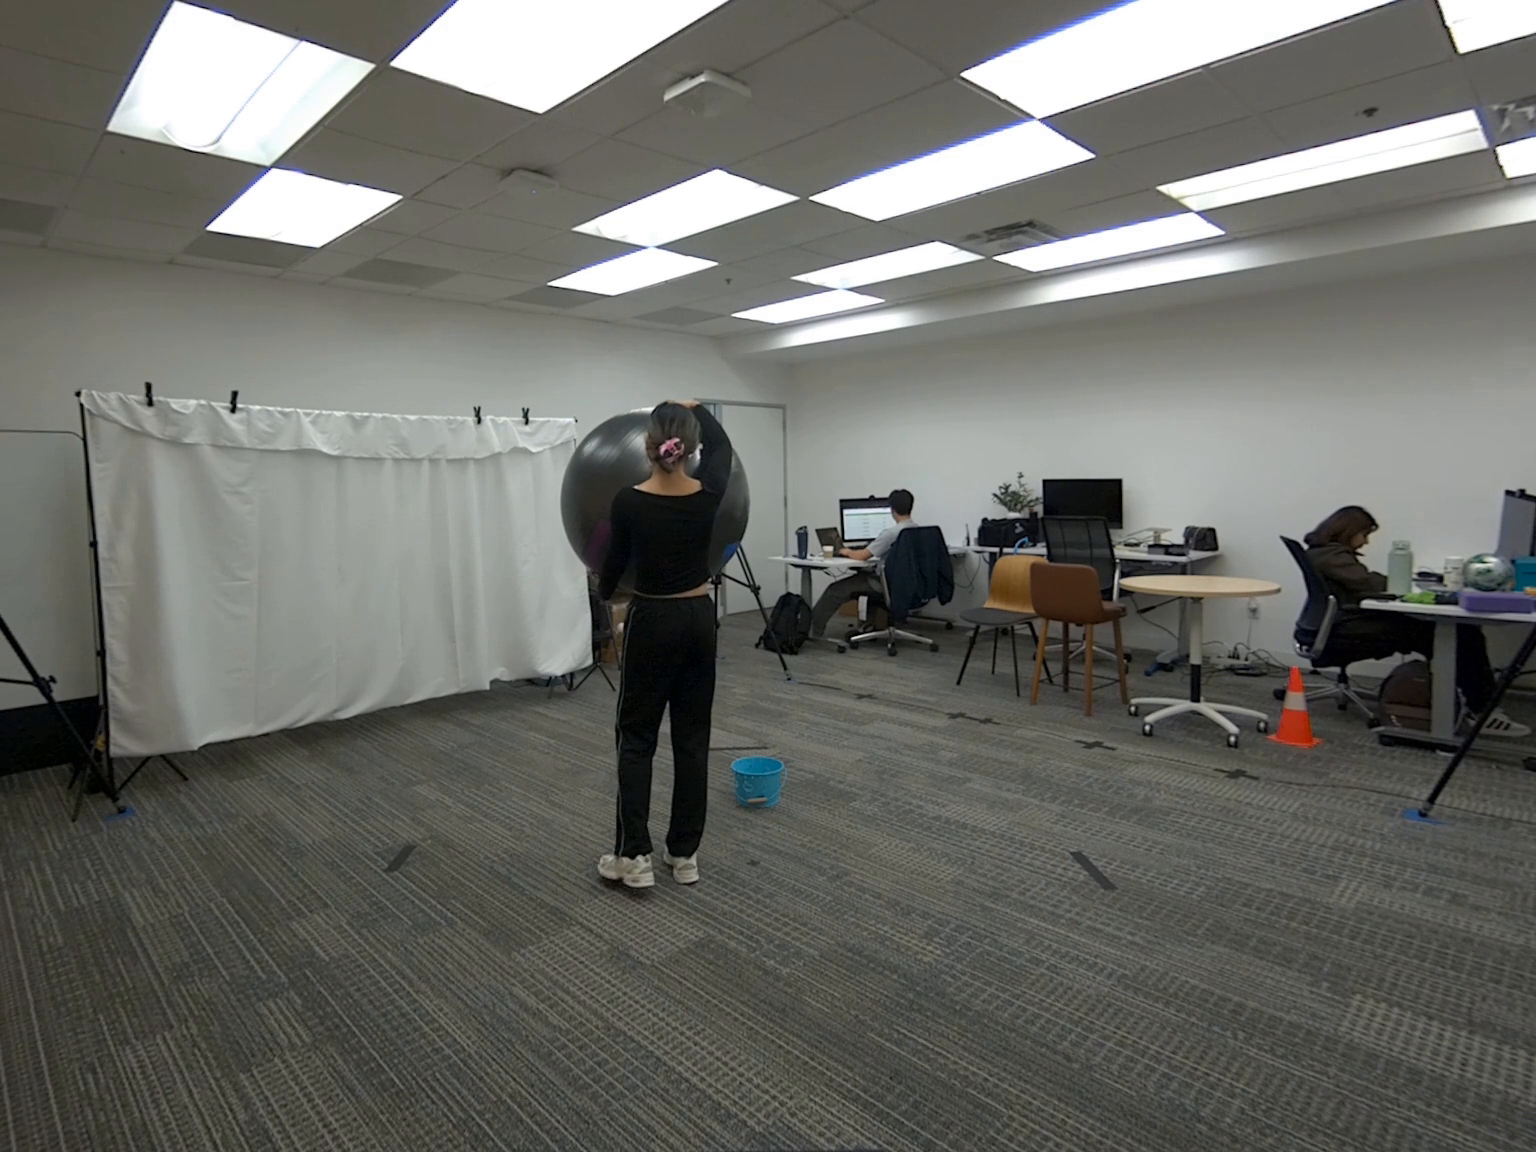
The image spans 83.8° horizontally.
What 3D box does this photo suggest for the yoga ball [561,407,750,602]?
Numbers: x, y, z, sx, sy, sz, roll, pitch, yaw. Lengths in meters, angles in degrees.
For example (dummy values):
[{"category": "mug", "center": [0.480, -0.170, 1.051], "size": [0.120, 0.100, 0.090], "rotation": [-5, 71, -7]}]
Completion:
[{"category": "yoga ball", "center": [-0.458, -0.296, 3.435], "size": [0.757, 0.755, 0.762], "rotation": [-1, 5, -2]}]
